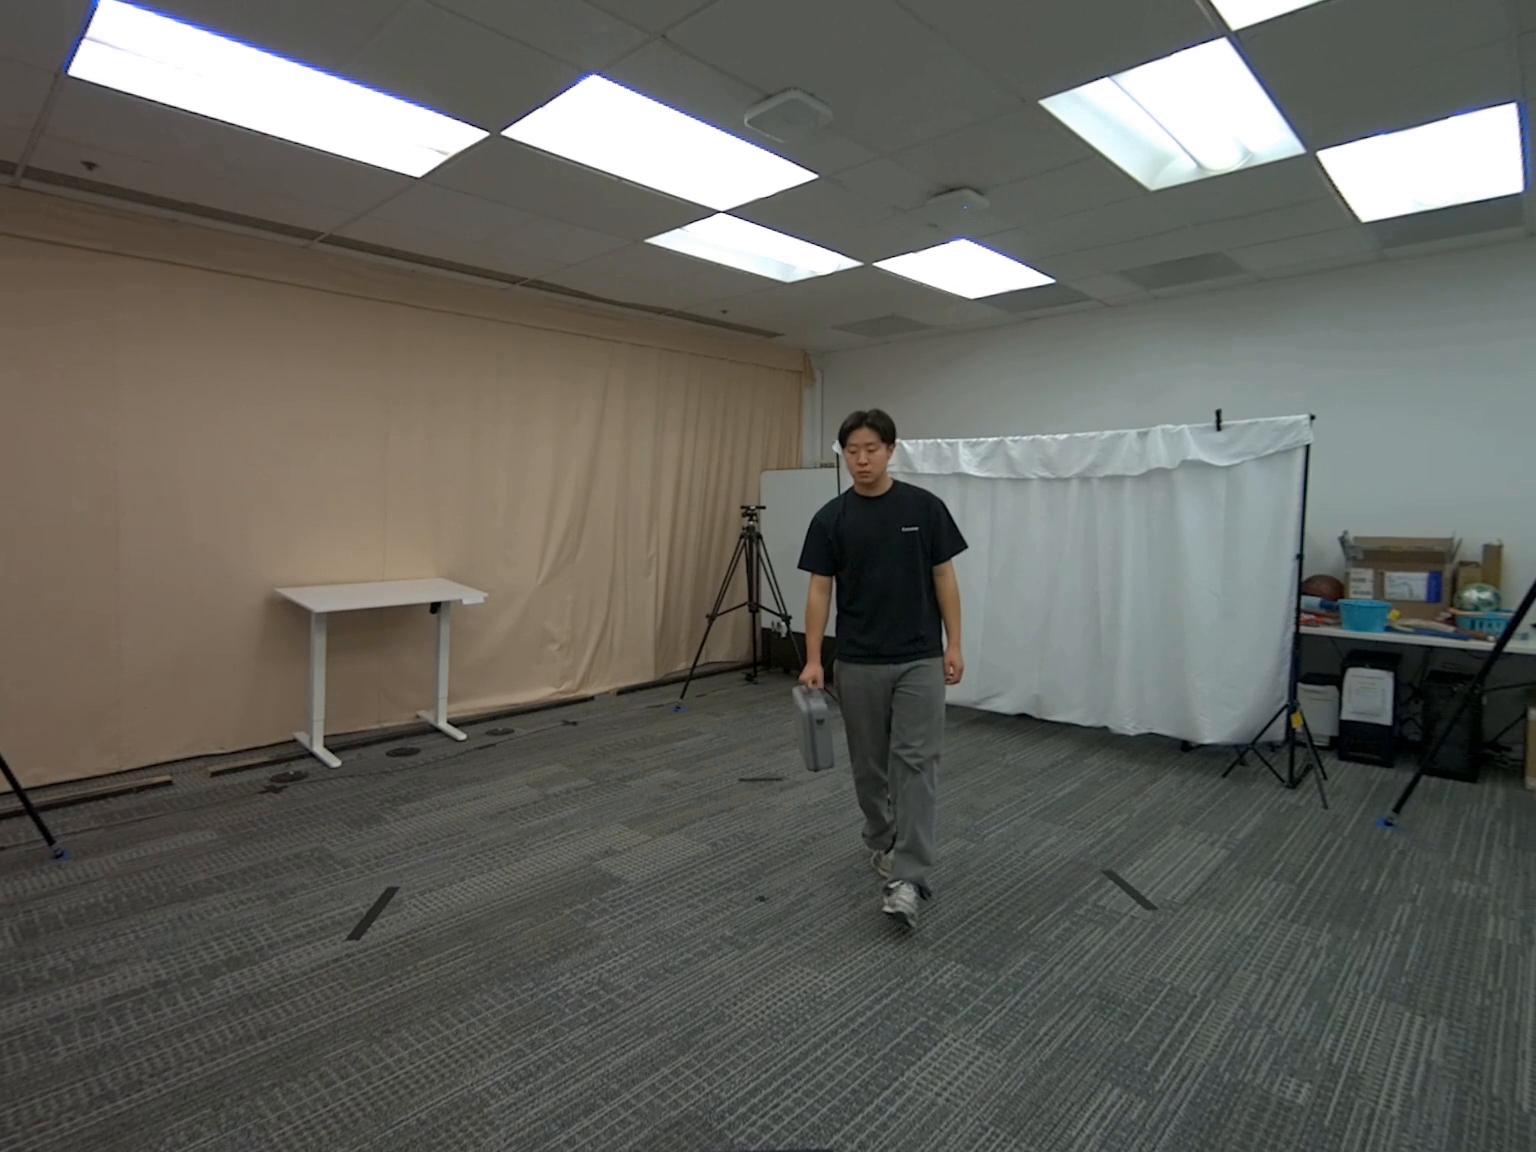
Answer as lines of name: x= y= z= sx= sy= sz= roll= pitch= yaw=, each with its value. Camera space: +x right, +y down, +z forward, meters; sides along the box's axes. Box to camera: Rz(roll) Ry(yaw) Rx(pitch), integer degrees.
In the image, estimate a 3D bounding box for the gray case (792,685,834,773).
gray case: x=0.175 y=0.544 z=3.104 sx=0.103 sy=0.284 sz=0.266 roll=-8 pitch=13 yaw=-3
